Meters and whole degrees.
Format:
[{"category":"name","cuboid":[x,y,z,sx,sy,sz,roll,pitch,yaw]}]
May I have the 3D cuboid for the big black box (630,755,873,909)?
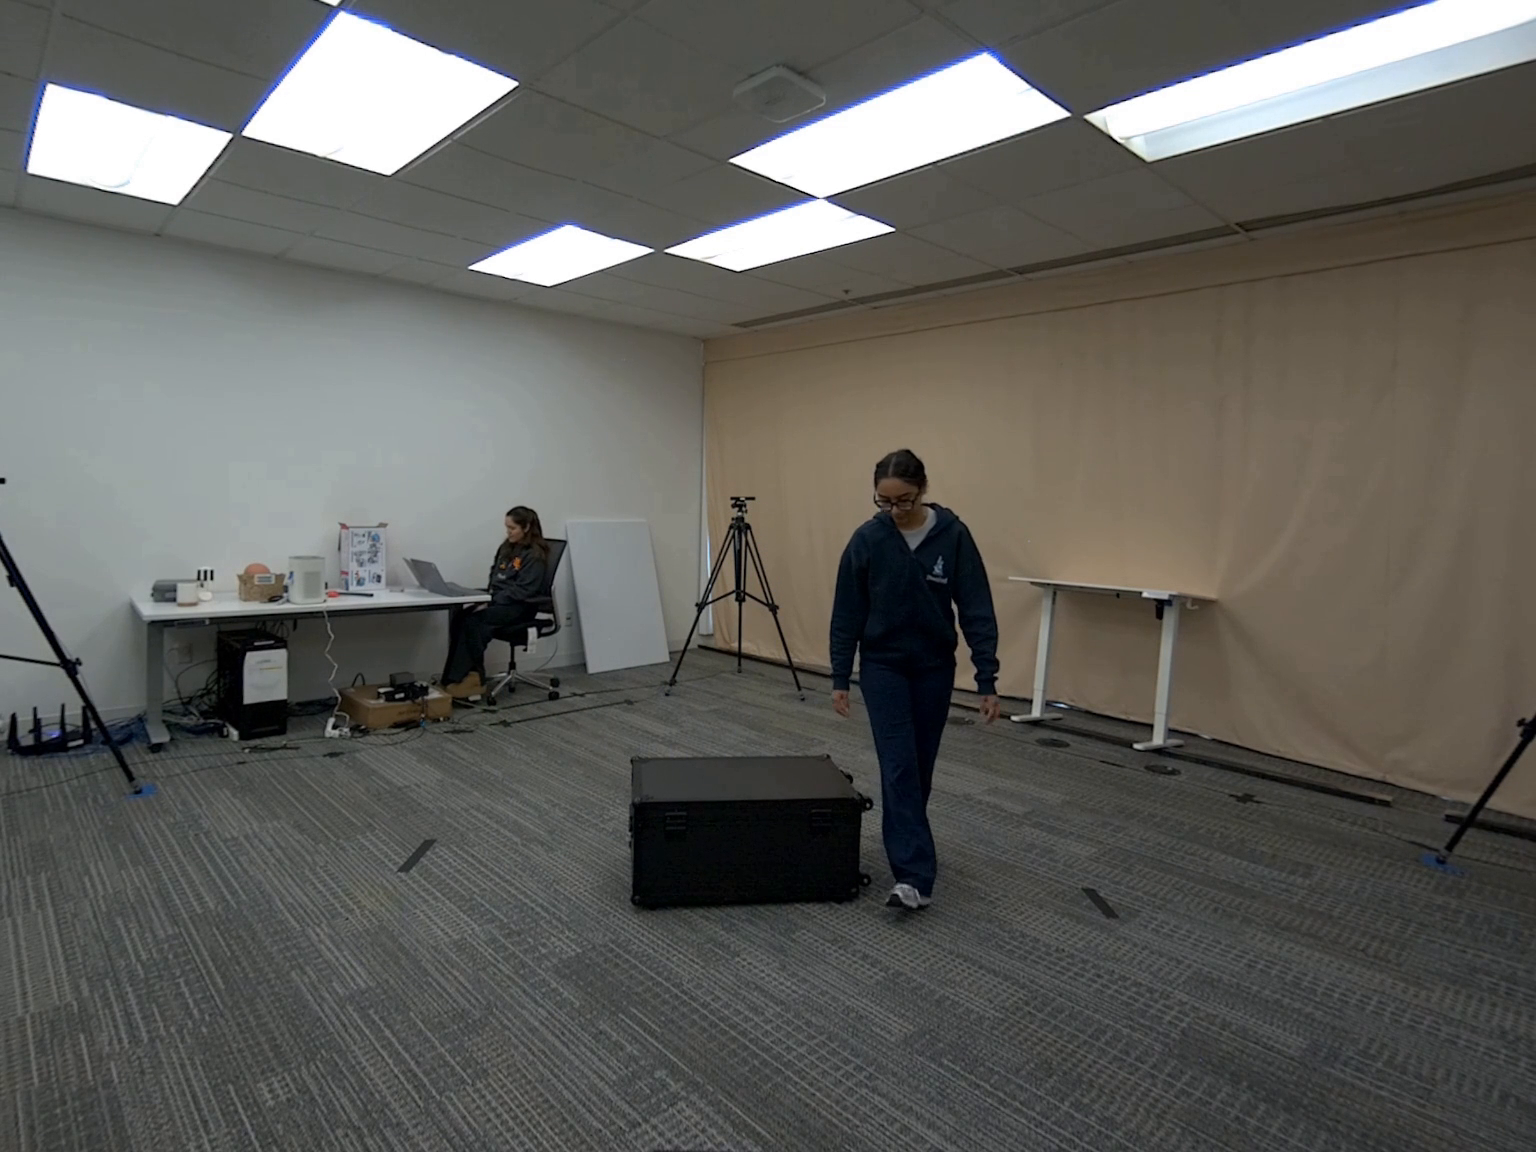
[{"category":"big black box","cuboid":[-0.079,0.918,3.088,0.855,0.395,0.526,1,4,-9]}]
